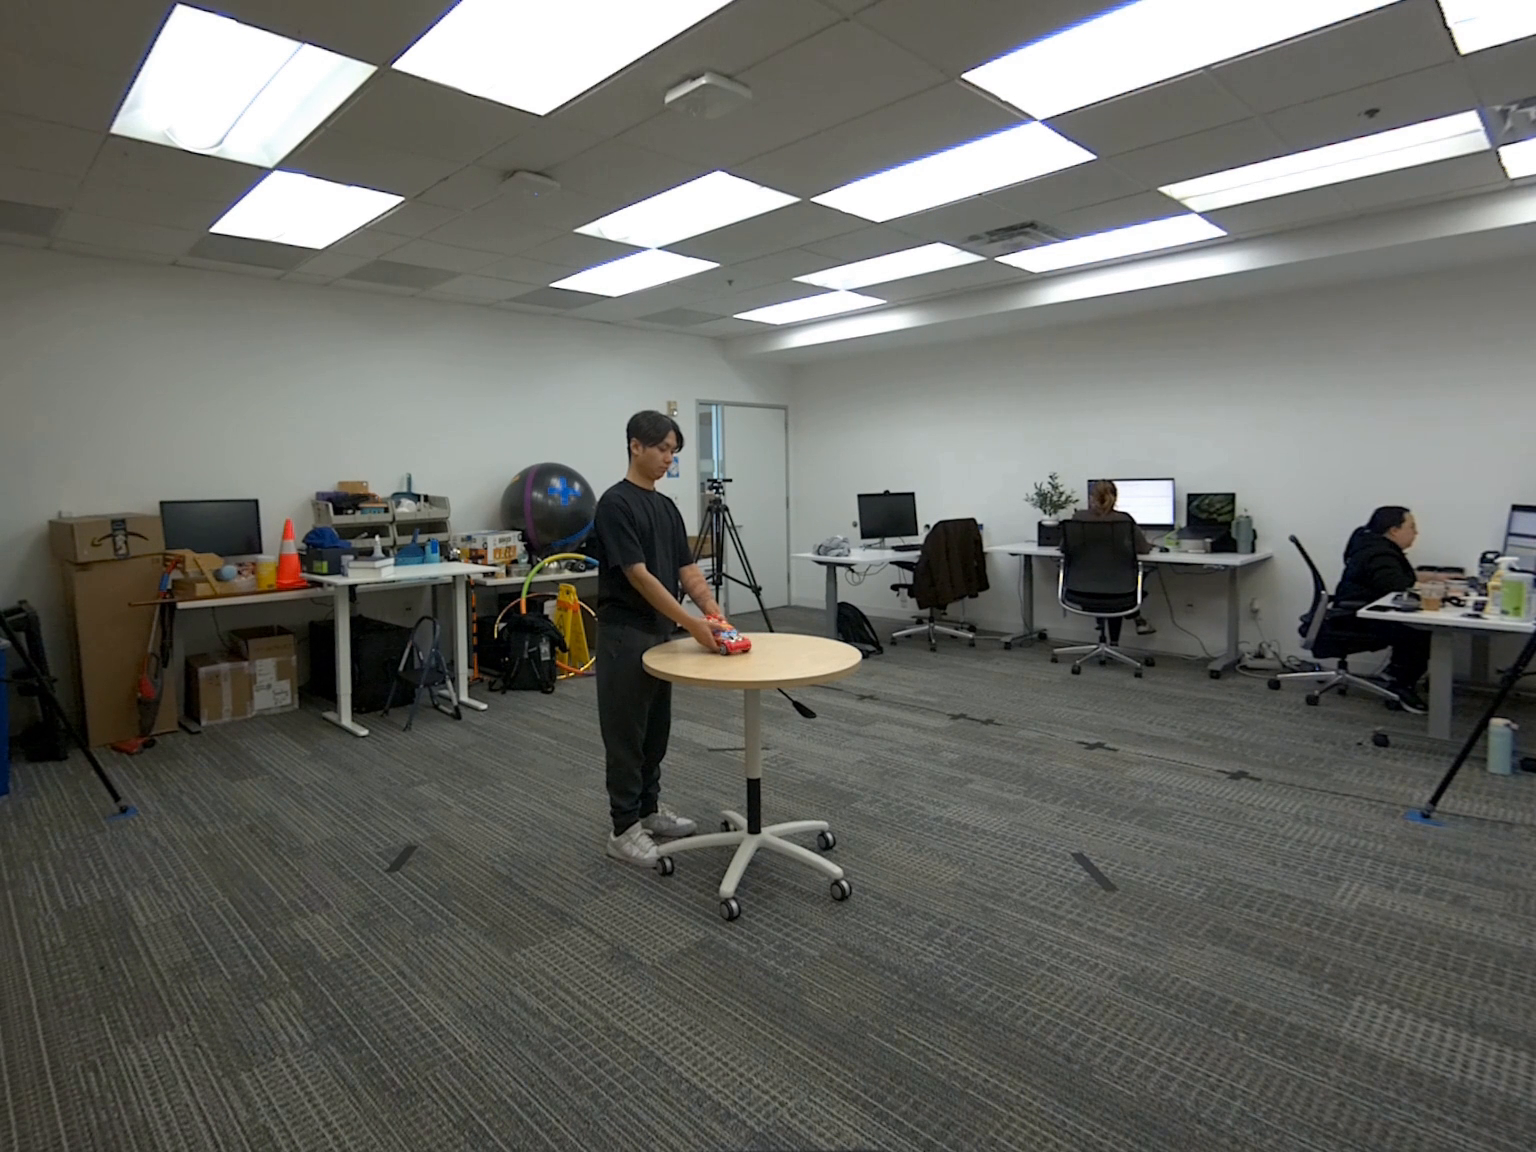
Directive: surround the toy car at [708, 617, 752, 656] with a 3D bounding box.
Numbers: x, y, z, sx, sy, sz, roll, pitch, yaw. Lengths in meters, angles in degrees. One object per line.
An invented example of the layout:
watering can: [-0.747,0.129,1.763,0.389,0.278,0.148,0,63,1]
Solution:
toy car: [-0.170,0.214,3.077,0.127,0.082,0.265,-4,29,-35]
